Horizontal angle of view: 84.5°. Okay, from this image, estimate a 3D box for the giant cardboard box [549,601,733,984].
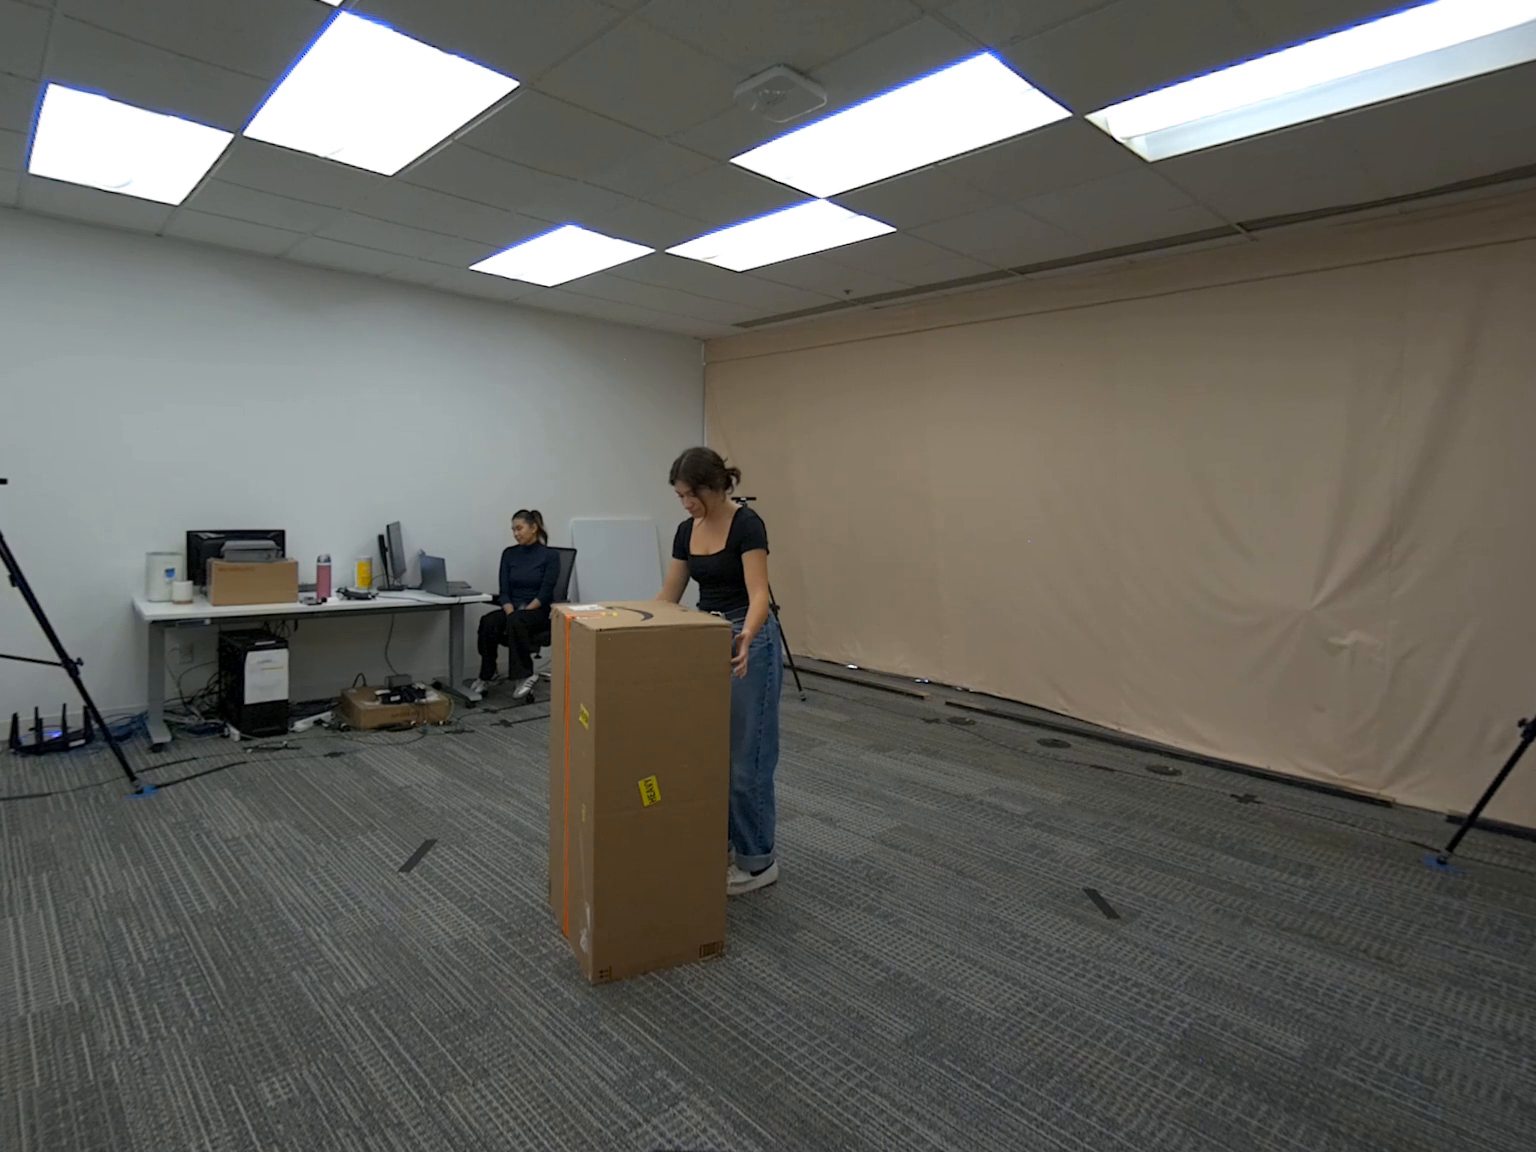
[{"bbox_3d":[-0.441,0.631,2.699,0.418,1.023,0.589,0,3,-27],"label":"giant cardboard box"}]
